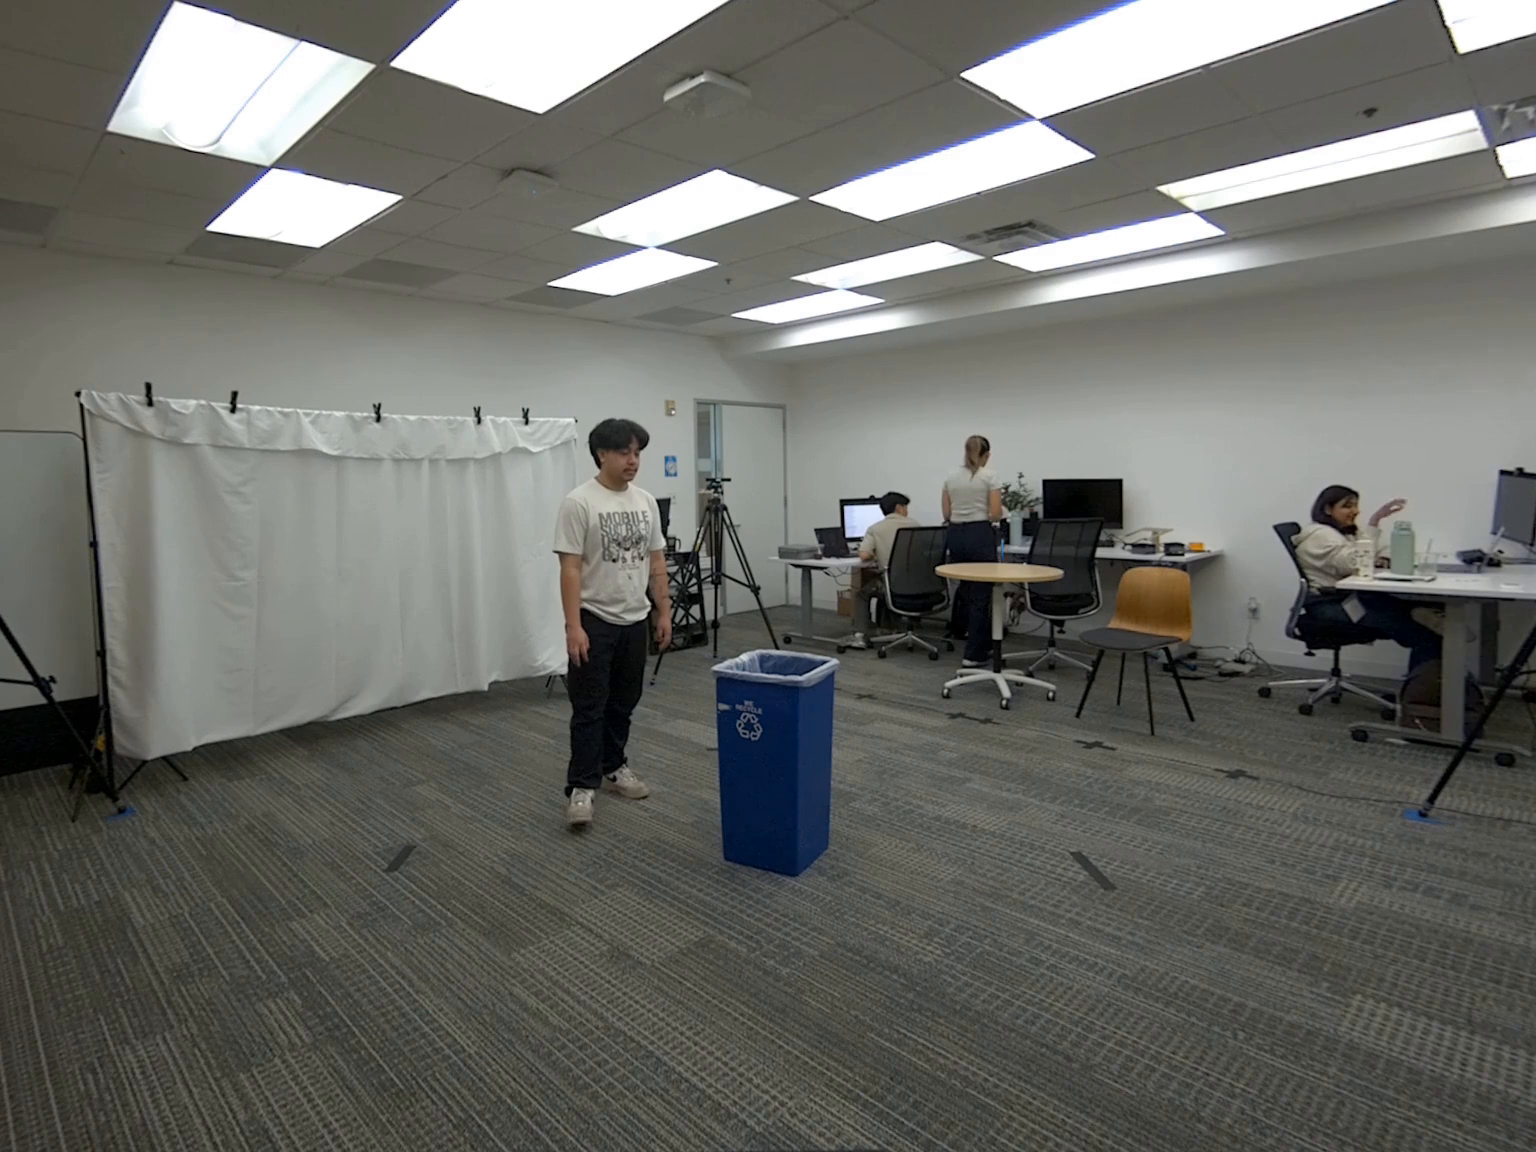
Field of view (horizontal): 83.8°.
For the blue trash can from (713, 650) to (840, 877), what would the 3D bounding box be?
[{"bbox_3d":[0.039,0.674,3.162,0.384,0.711,0.370,1,5,29],"label":"blue trash can"}]
